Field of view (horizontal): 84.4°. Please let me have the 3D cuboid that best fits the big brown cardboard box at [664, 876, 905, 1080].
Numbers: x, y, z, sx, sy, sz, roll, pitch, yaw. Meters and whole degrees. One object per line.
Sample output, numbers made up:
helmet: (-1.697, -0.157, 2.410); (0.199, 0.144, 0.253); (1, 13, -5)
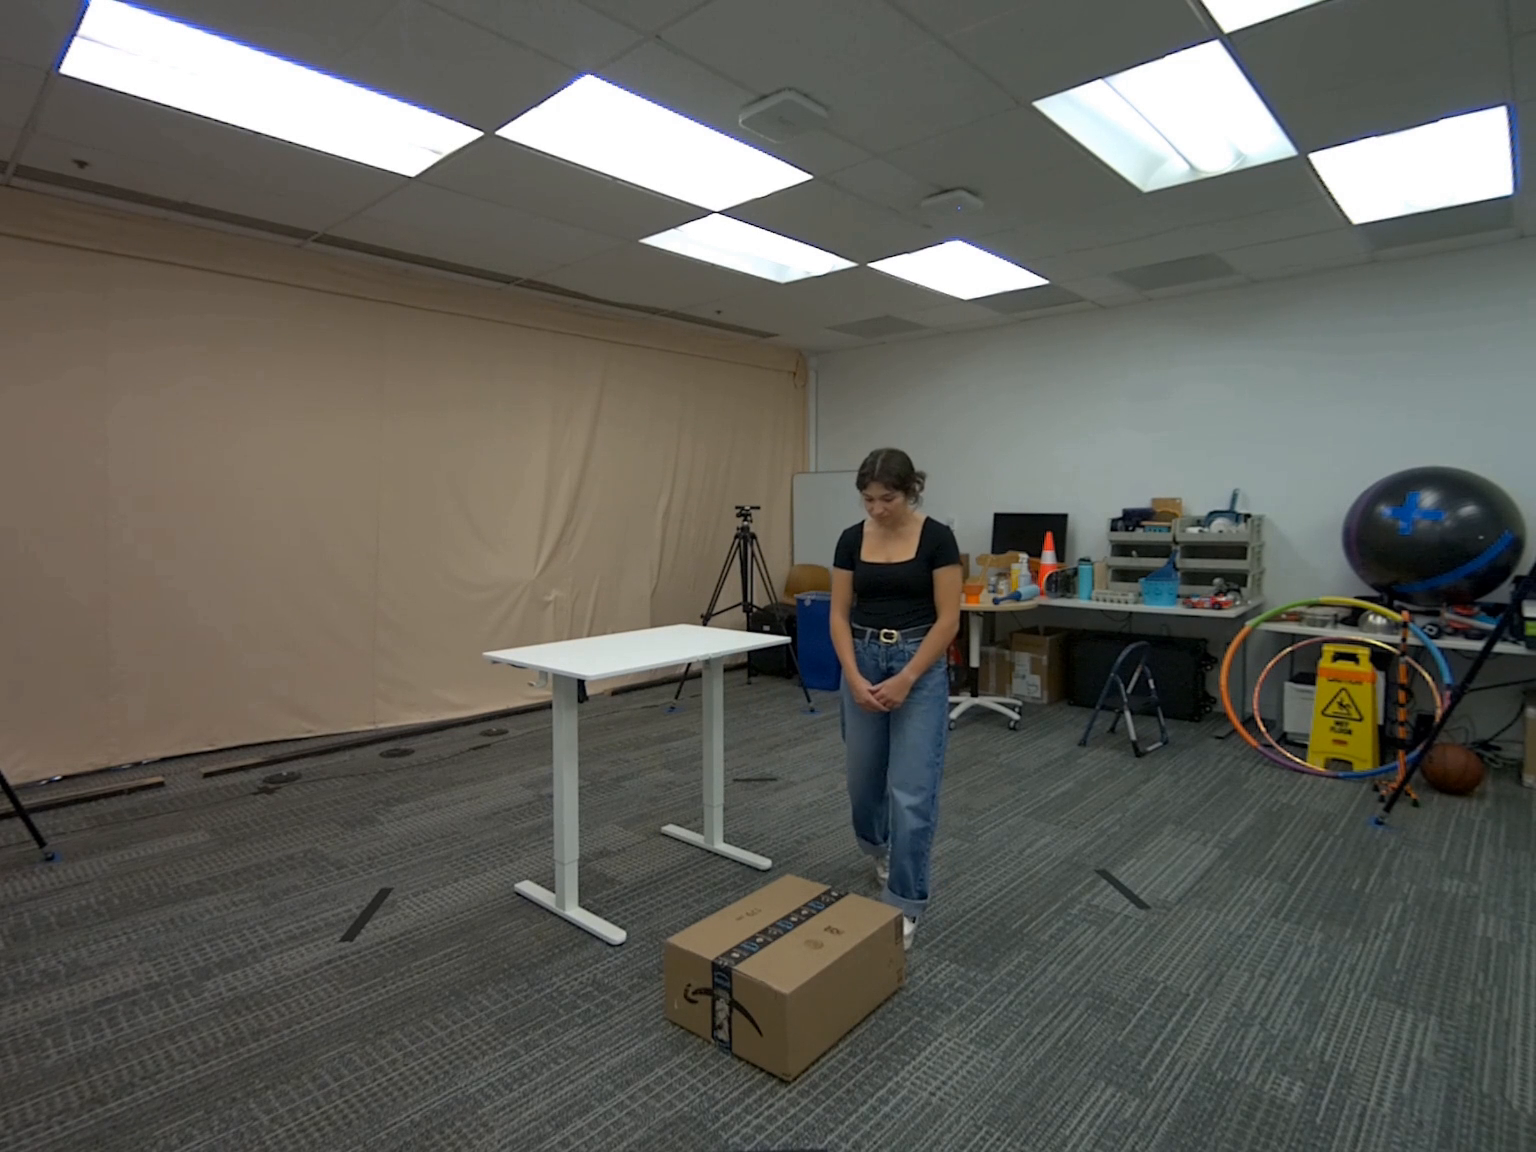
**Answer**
big brown cardboard box: (0.056, 1.086, 2.351); (0.431, 0.232, 0.571); (2, 5, 40)
